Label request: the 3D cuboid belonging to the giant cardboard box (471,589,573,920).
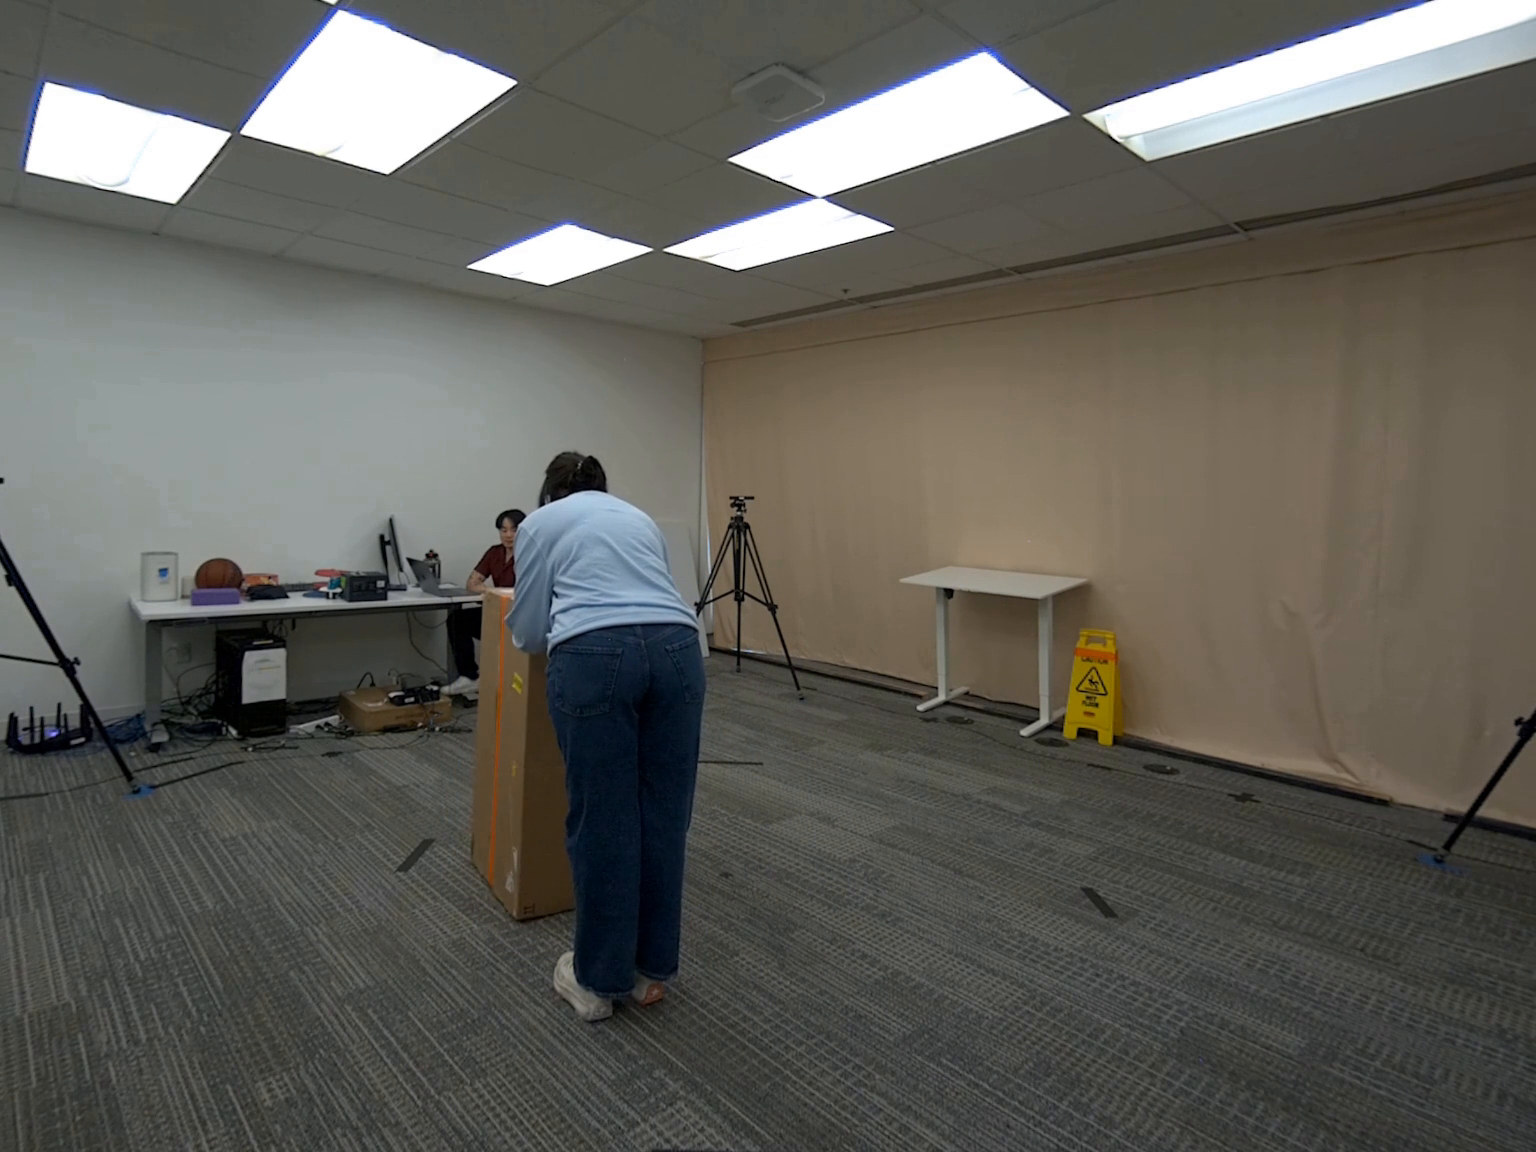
[{"bbox_3d":[-0.781,0.587,3.047,0.417,1.024,0.591,2,2,-34],"label":"giant cardboard box"}]
